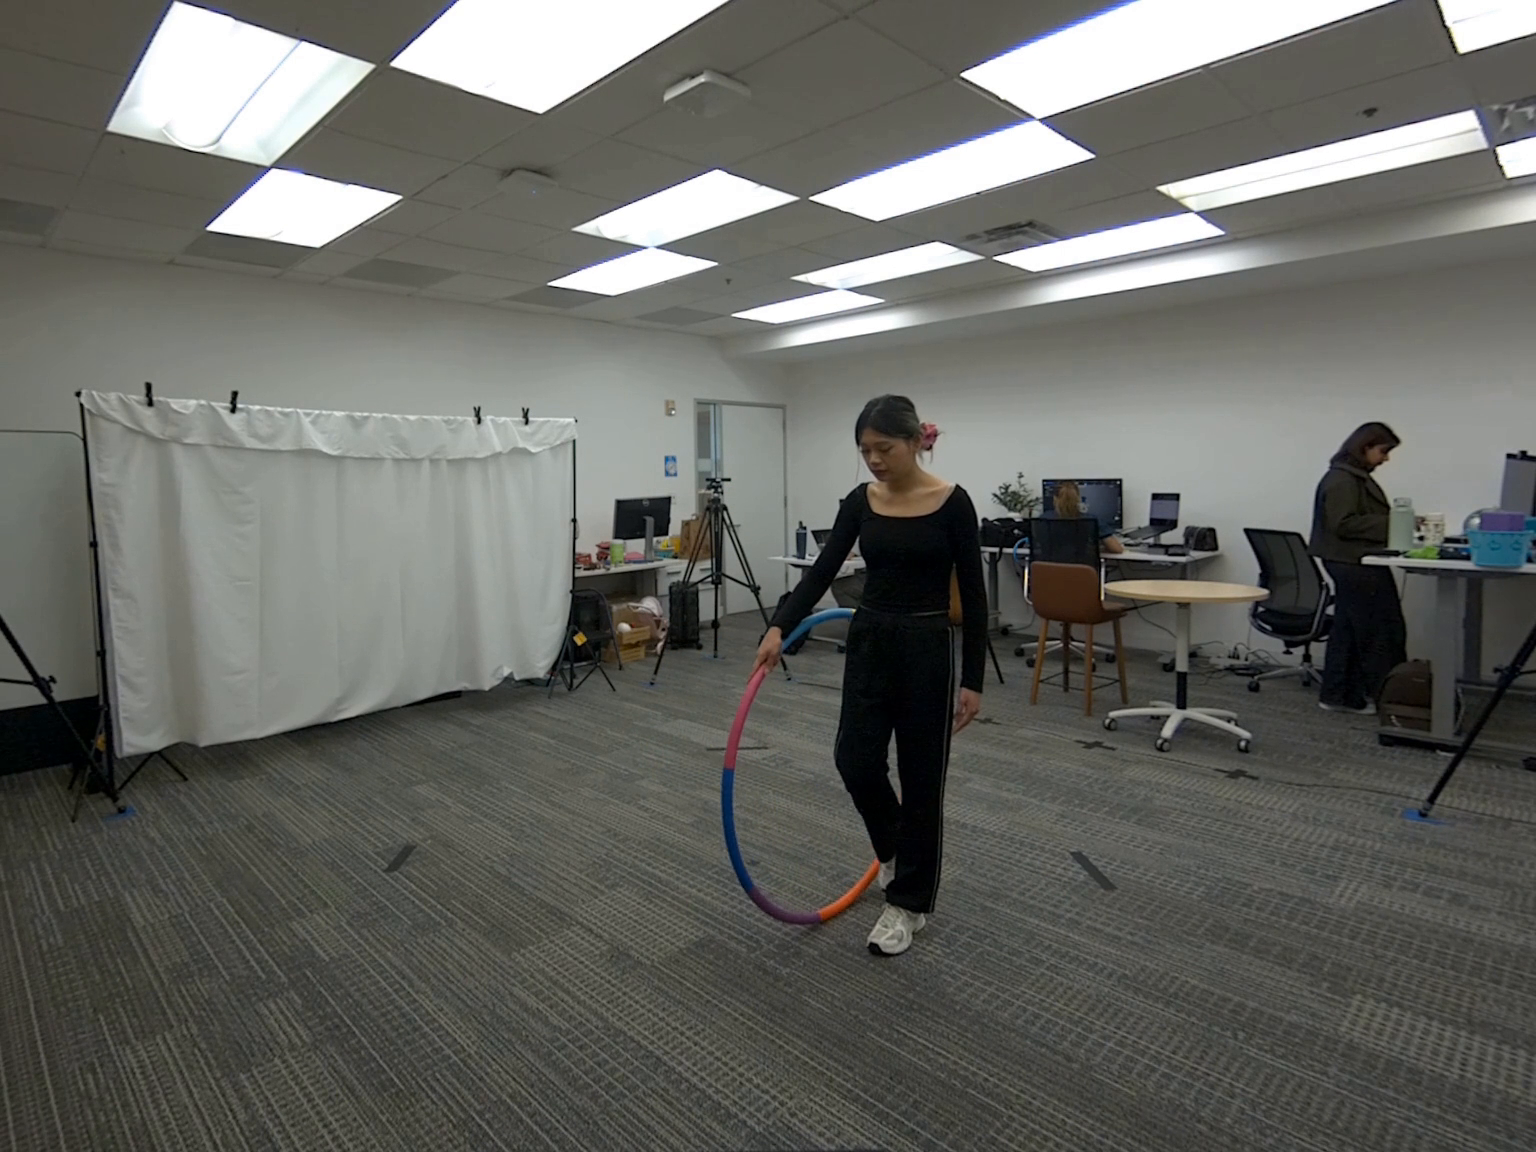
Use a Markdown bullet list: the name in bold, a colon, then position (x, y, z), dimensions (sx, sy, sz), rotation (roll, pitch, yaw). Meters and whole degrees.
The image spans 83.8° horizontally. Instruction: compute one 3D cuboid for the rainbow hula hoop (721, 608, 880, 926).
- **rainbow hula hoop**: position (0.208, 0.593, 2.718), dimensions (0.036, 0.976, 0.953), rotation (1, 4, 44)
